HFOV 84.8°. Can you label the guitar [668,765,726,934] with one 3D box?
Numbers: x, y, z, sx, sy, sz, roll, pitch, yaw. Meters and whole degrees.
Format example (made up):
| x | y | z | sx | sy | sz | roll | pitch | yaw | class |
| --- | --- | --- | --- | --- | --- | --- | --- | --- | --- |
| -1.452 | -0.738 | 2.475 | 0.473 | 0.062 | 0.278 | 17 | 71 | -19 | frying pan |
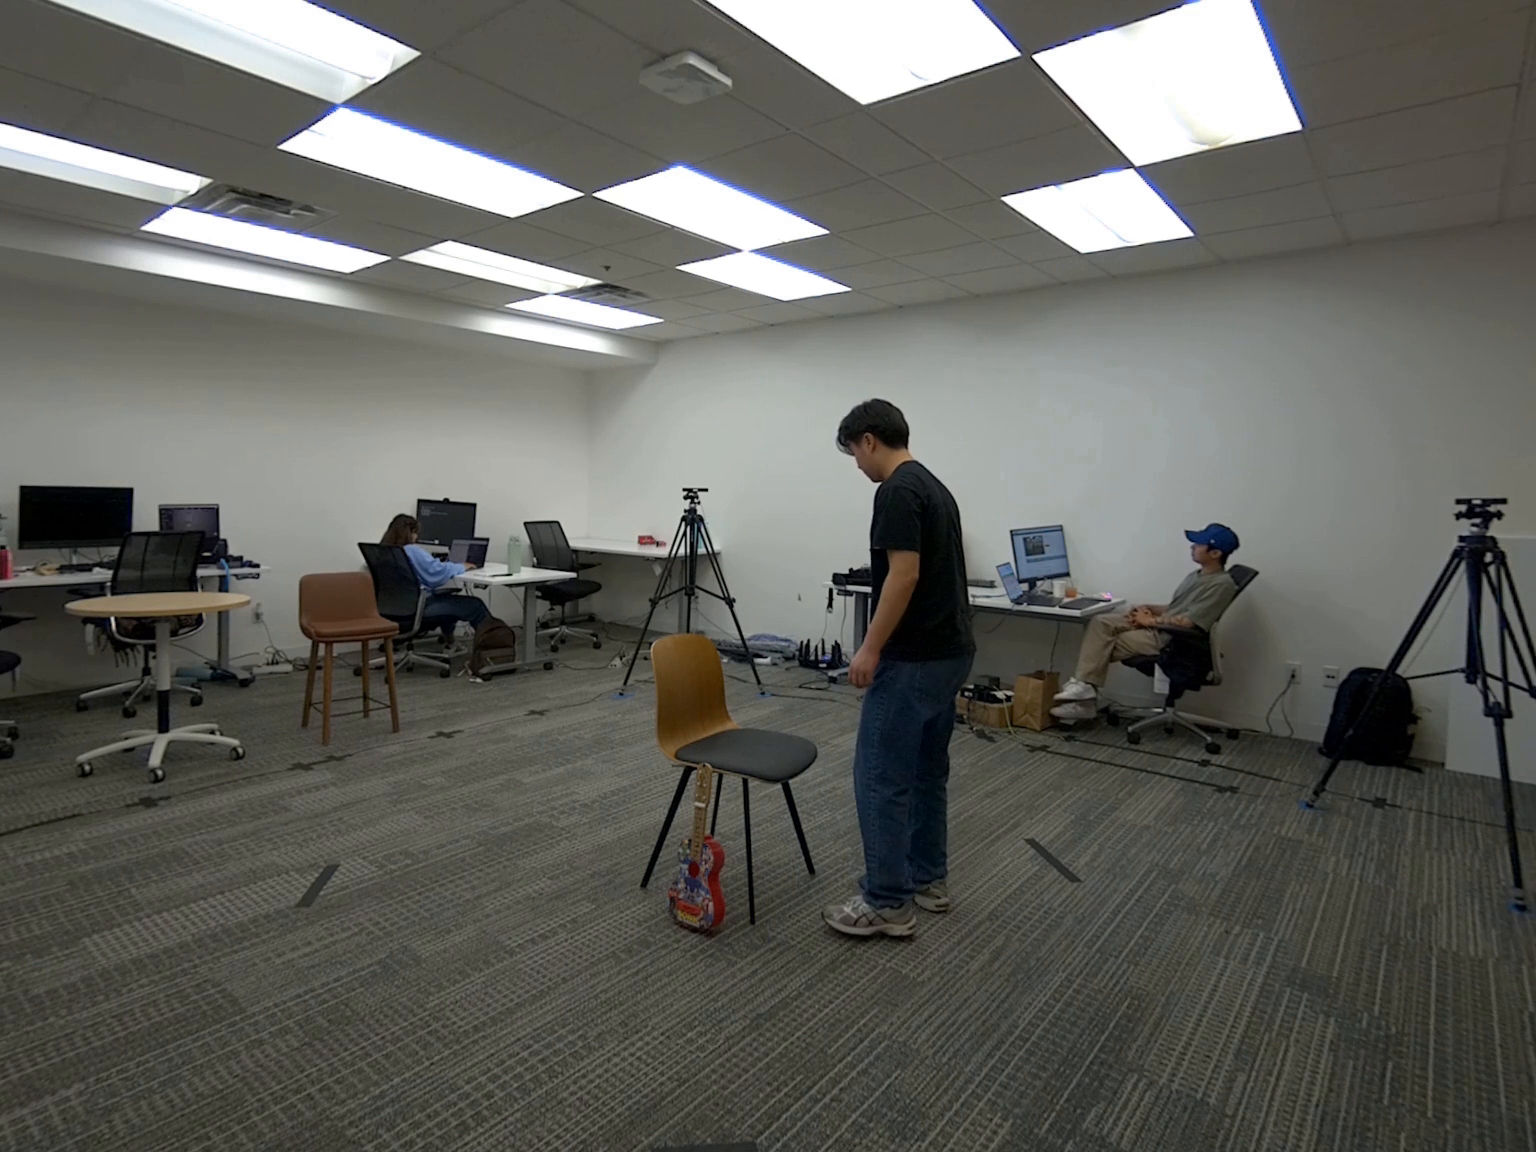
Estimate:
| x | y | z | sx | sy | sz | roll | pitch | yaw | class |
| --- | --- | --- | --- | --- | --- | --- | --- | --- | --- |
| -0.208 | 0.870 | 2.701 | 0.200 | 0.499 | 0.068 | 10 | -4 | 35 | guitar |
